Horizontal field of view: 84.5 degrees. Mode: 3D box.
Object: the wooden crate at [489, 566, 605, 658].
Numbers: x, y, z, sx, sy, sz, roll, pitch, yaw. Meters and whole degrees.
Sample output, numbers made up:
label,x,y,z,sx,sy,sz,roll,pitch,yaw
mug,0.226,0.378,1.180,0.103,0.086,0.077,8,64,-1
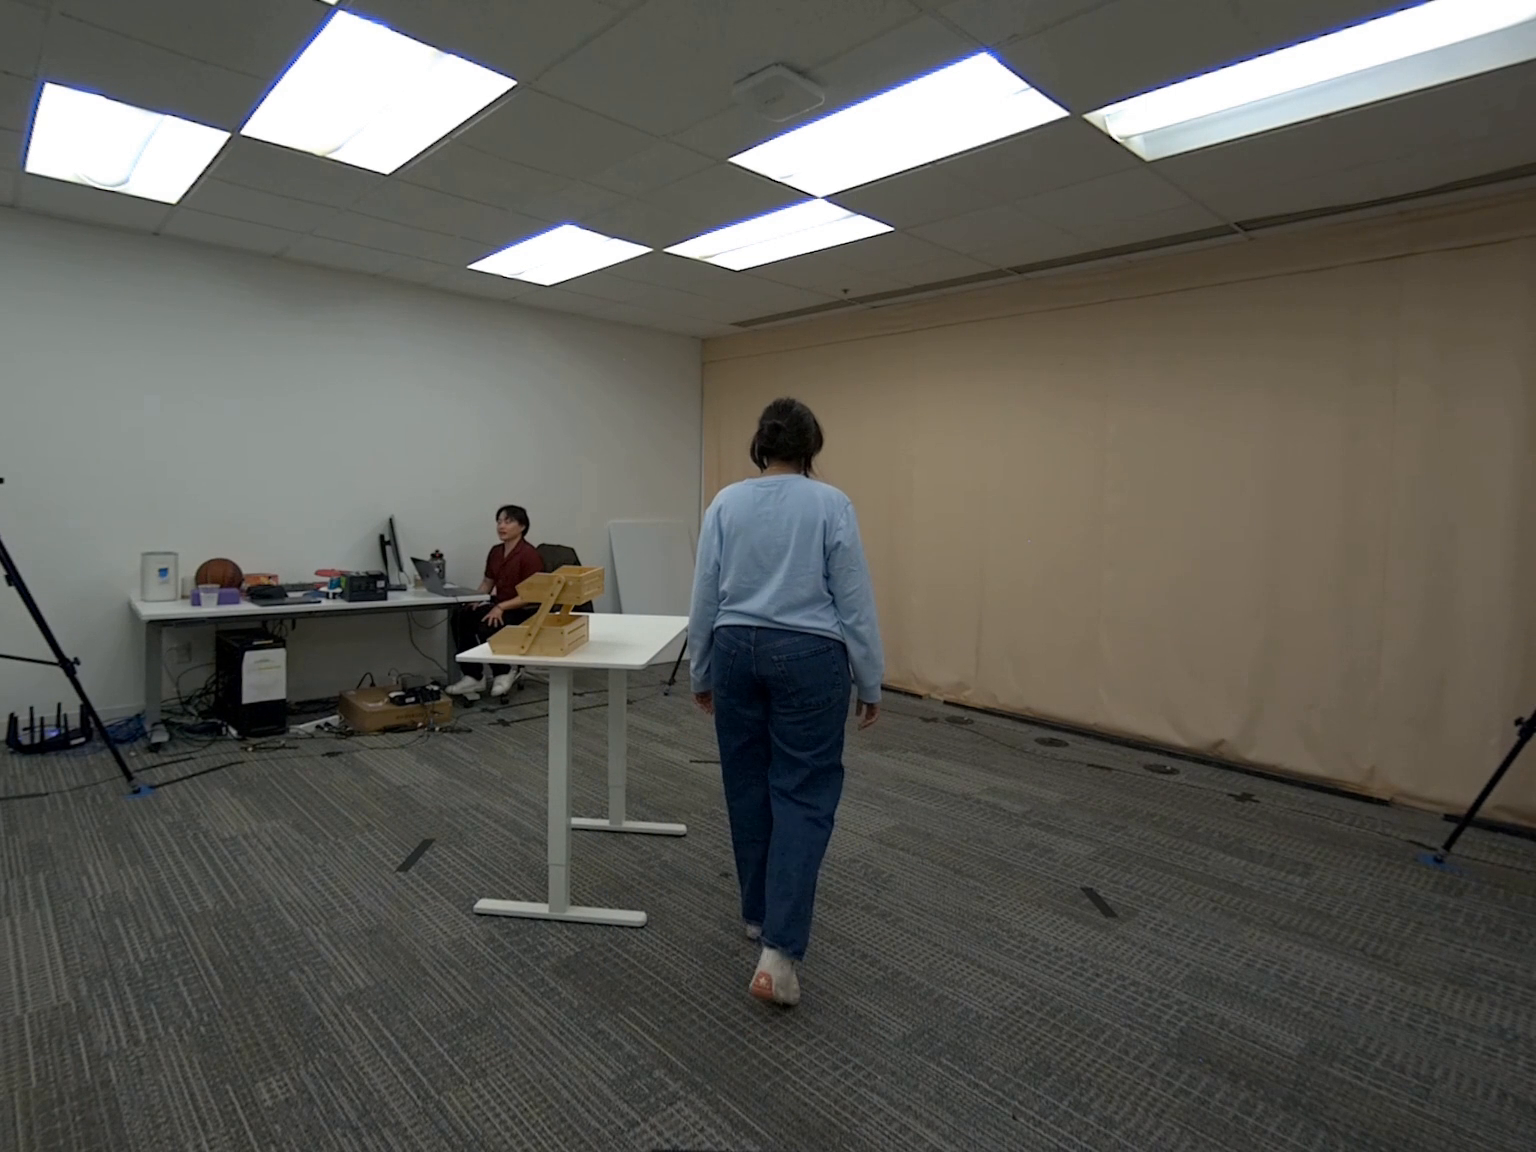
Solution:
label,x,y,z,sx,sy,sz,roll,pitch,yaw
wooden crate,-0.745,0.107,2.792,0.303,0.272,0.324,3,5,3
